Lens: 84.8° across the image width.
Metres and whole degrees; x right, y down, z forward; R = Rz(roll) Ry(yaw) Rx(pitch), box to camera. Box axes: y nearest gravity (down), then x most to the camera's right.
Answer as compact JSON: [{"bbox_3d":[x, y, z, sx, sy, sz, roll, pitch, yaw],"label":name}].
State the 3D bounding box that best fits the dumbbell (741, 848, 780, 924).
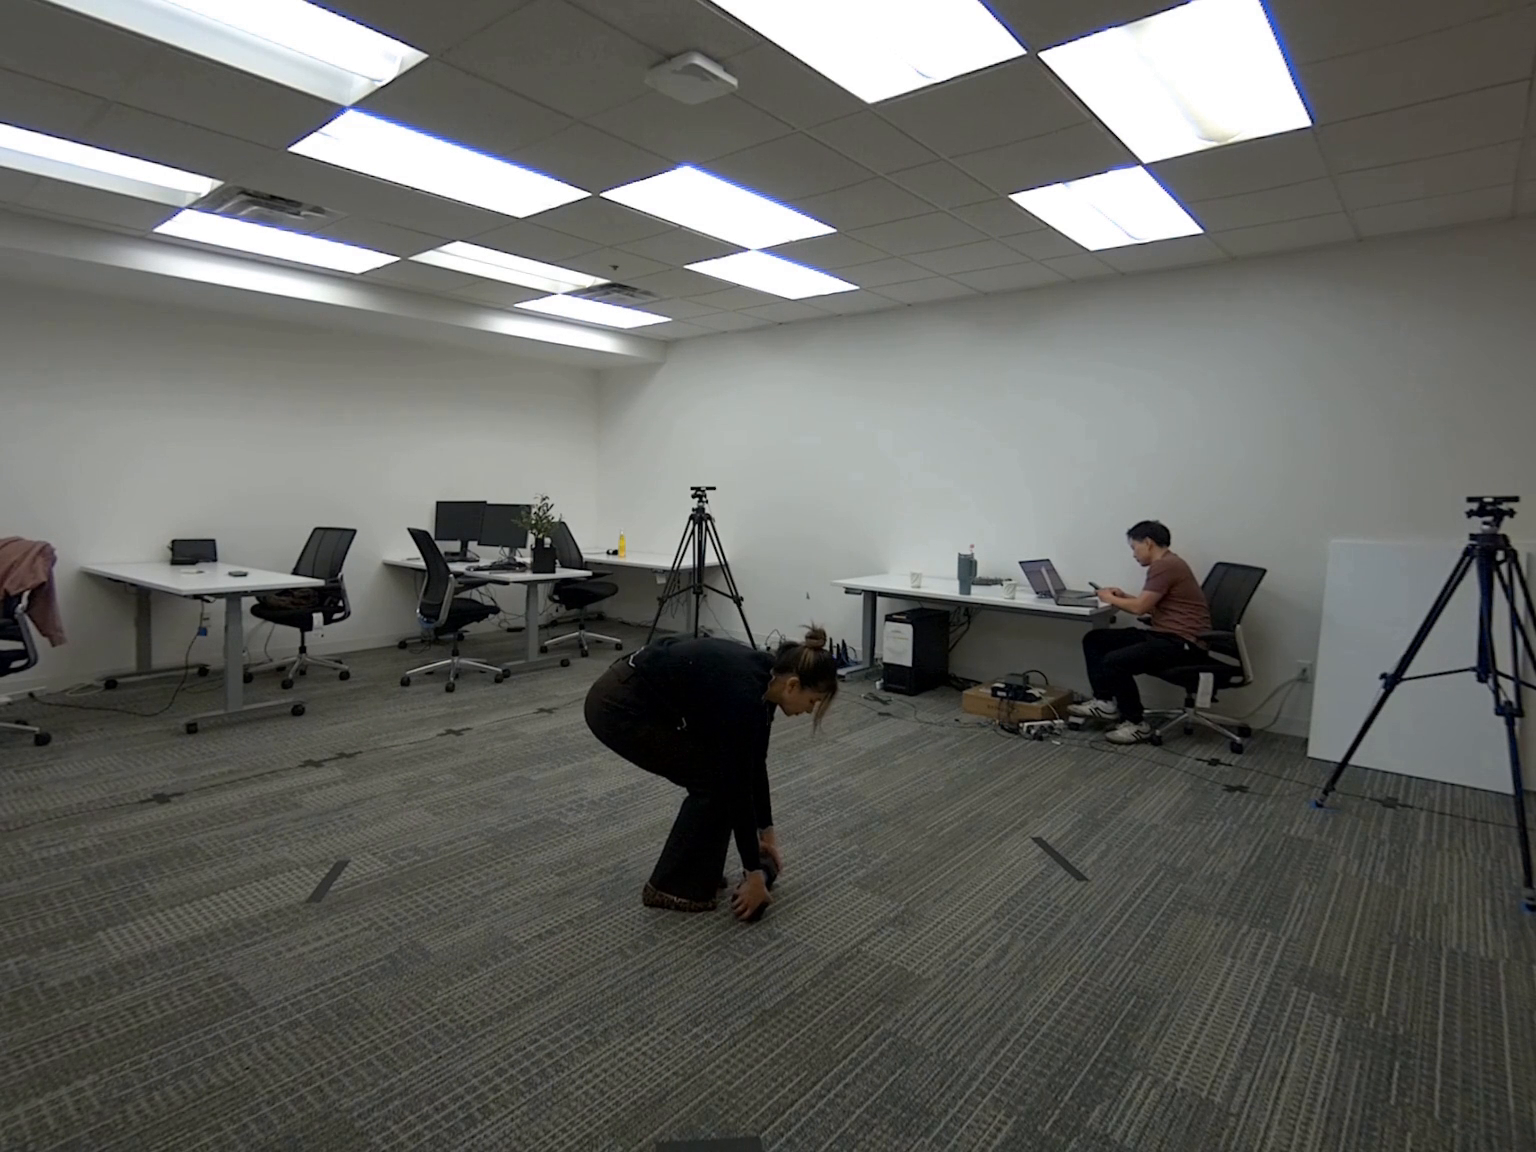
[{"bbox_3d":[-0.057,1.036,2.868,0.109,0.123,0.291,-30,-1,10],"label":"dumbbell"}]
